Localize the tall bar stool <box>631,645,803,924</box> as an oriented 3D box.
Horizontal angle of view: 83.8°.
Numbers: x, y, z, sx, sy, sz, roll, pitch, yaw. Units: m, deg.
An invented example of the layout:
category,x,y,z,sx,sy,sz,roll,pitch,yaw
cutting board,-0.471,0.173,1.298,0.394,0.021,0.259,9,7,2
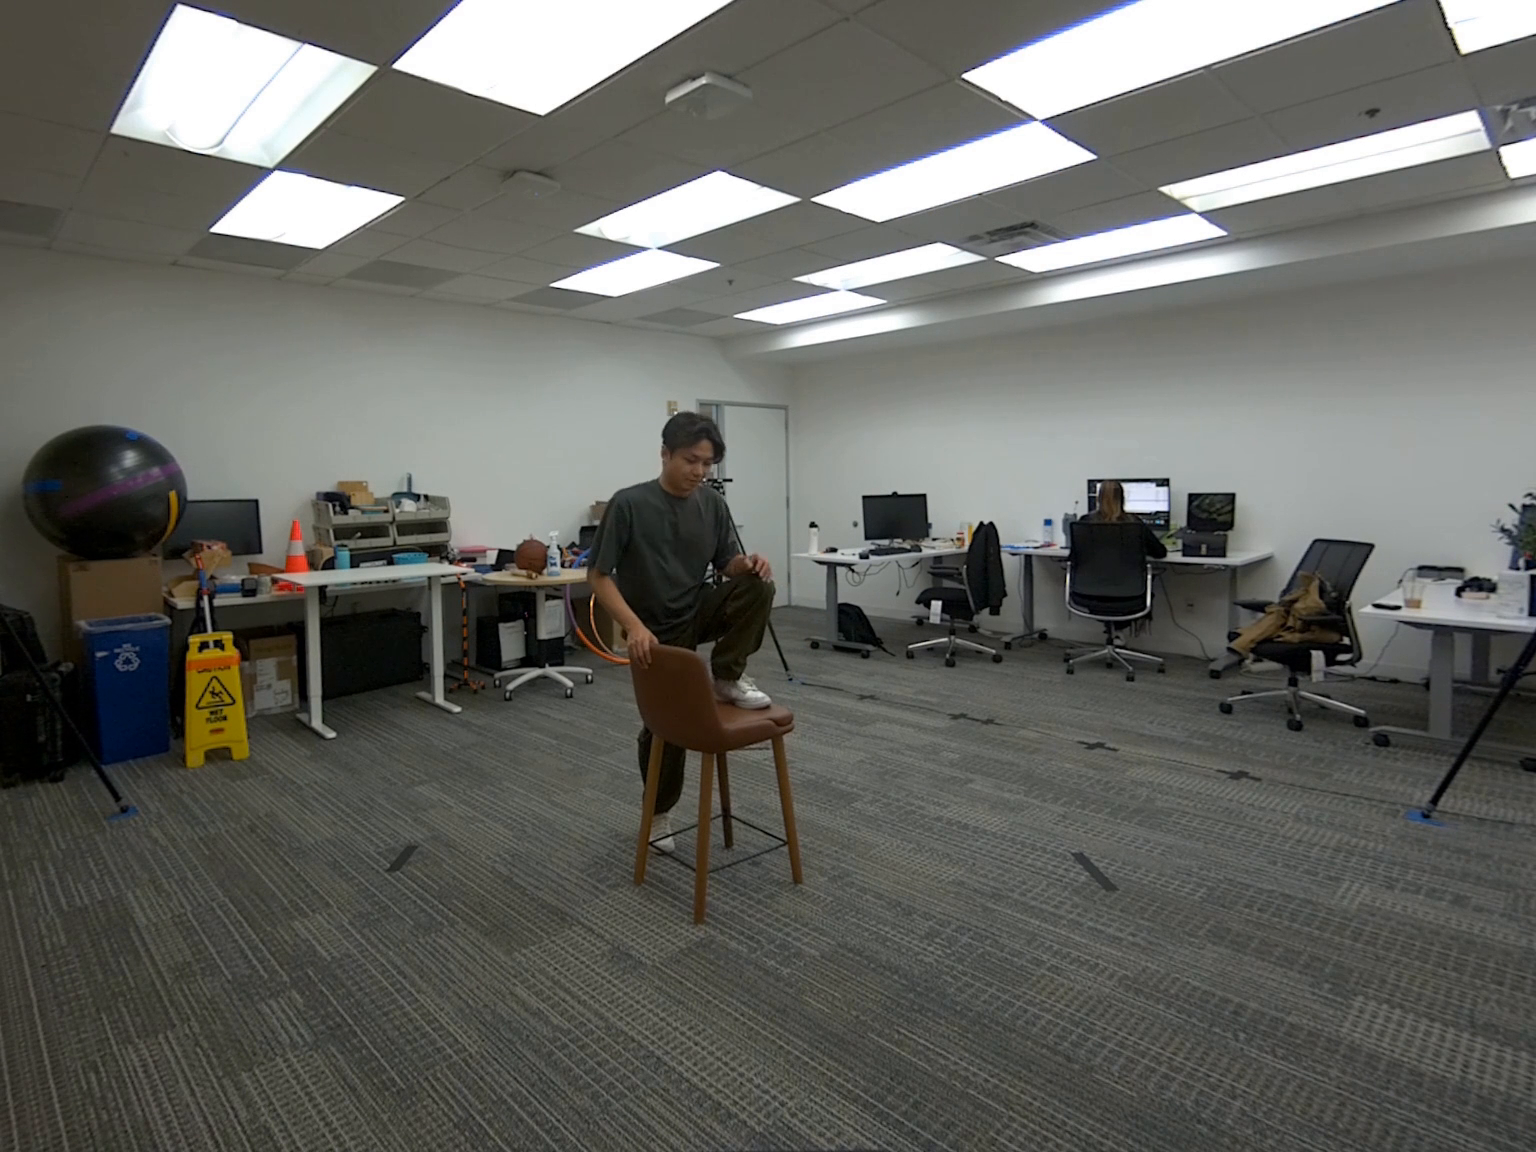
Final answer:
category,x,y,z,sx,sy,sz,roll,pitch,yaw
tall bar stool,-0.184,0.631,2.928,0.456,0.885,0.470,-8,8,-39
